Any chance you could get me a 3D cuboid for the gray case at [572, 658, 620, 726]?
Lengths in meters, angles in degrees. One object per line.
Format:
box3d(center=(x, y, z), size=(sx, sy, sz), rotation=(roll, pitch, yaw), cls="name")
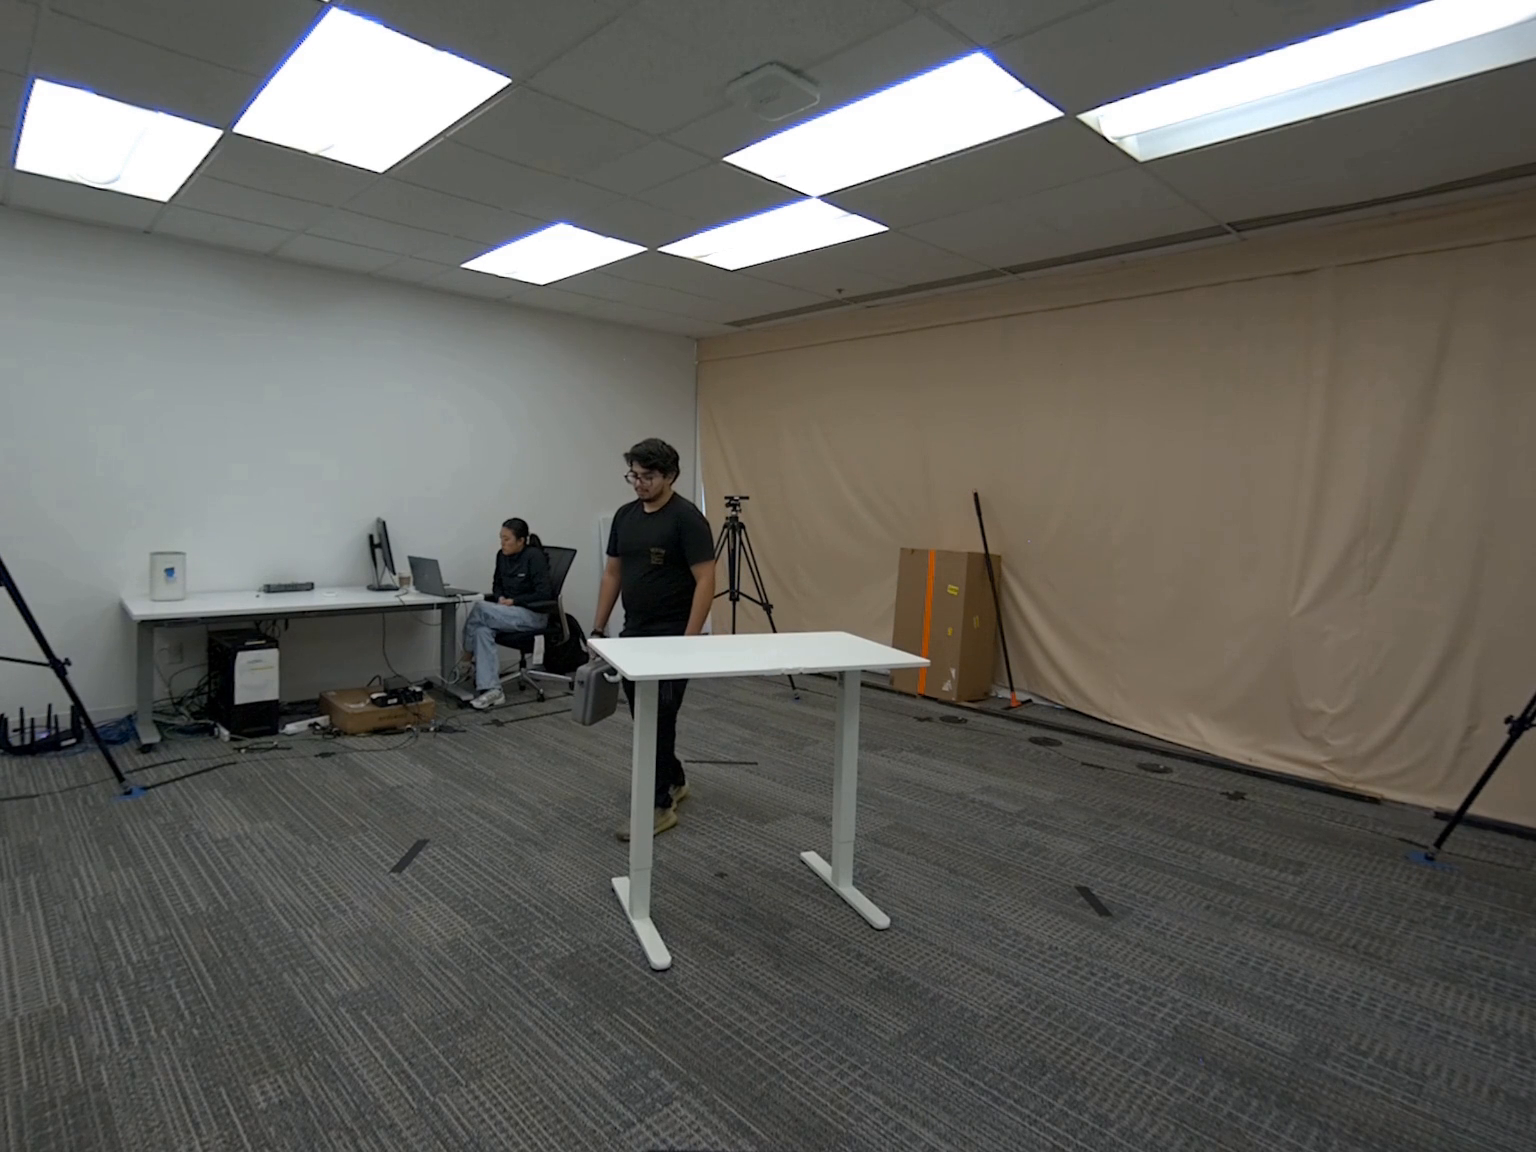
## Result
box3d(center=(-0.752, 0.493, 3.673), size=(0.106, 0.259, 0.254), rotation=(8, 7, 17), cls="gray case")
